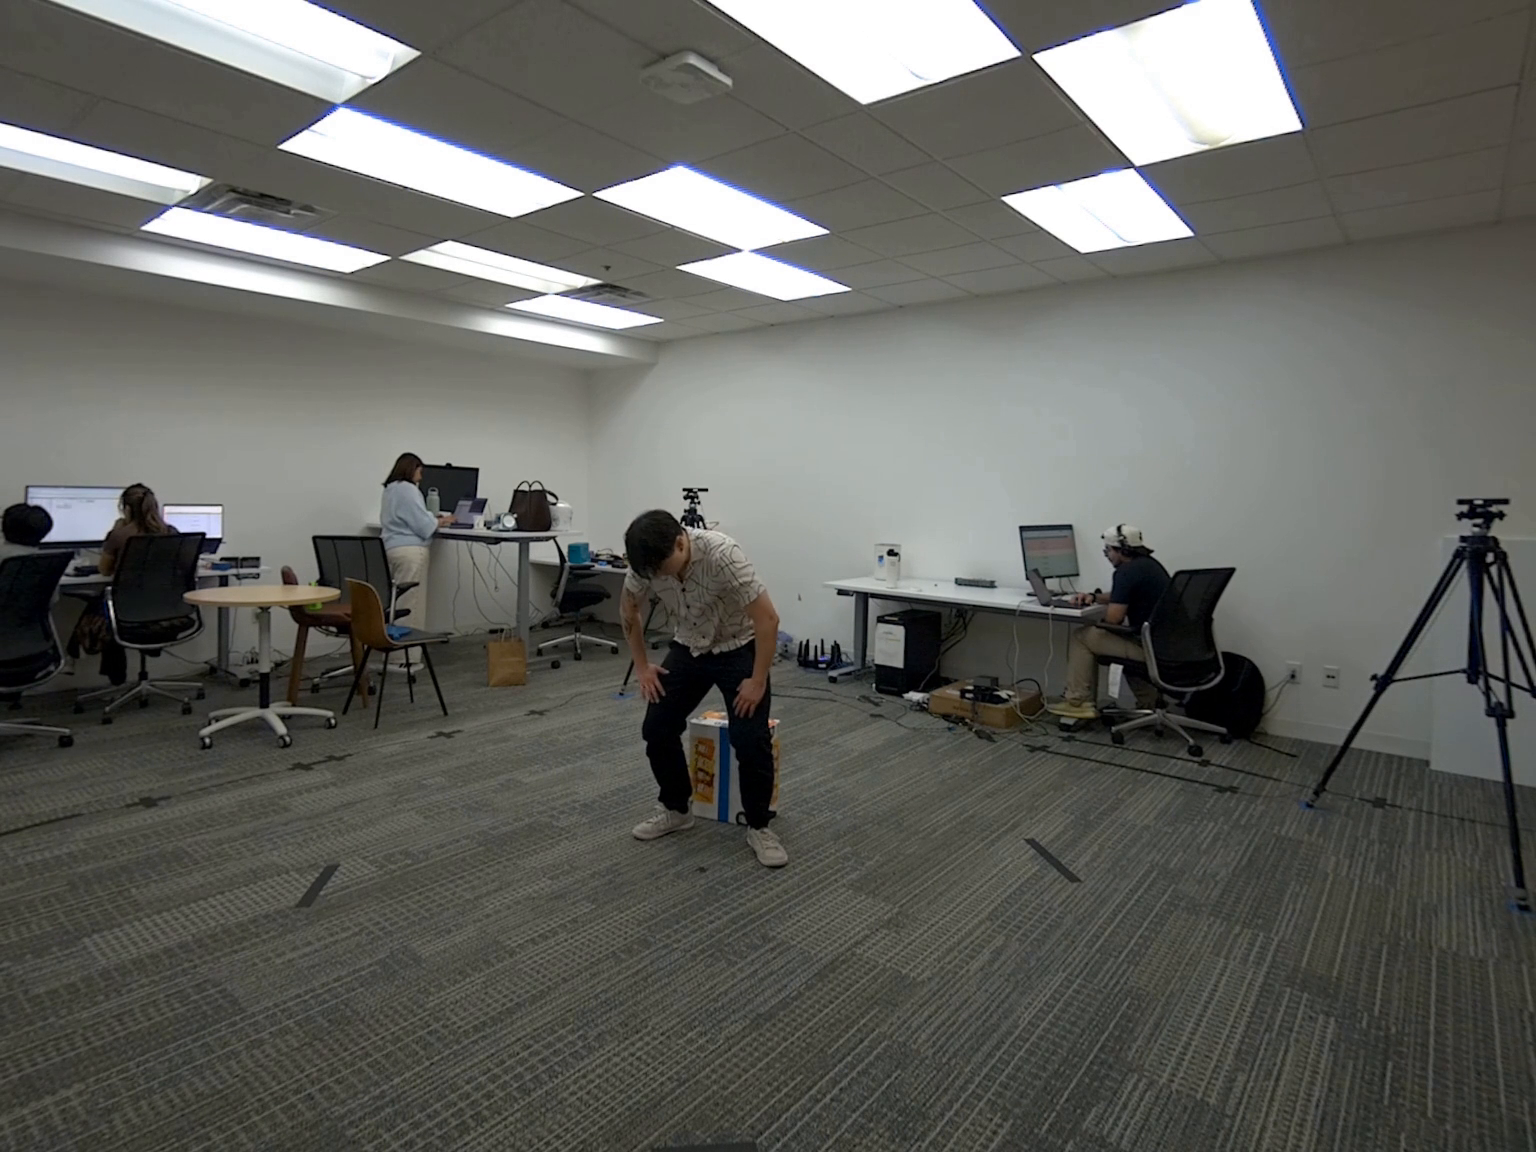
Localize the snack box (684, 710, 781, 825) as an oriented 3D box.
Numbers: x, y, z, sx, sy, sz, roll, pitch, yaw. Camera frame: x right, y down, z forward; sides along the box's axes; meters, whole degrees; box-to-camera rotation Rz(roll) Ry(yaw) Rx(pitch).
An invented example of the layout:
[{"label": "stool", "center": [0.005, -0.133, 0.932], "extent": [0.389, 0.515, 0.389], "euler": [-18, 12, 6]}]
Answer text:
[{"label": "snack box", "center": [-0.152, 0.814, 3.632], "extent": [0.349, 0.404, 0.201], "euler": [2, 4, 24]}]
